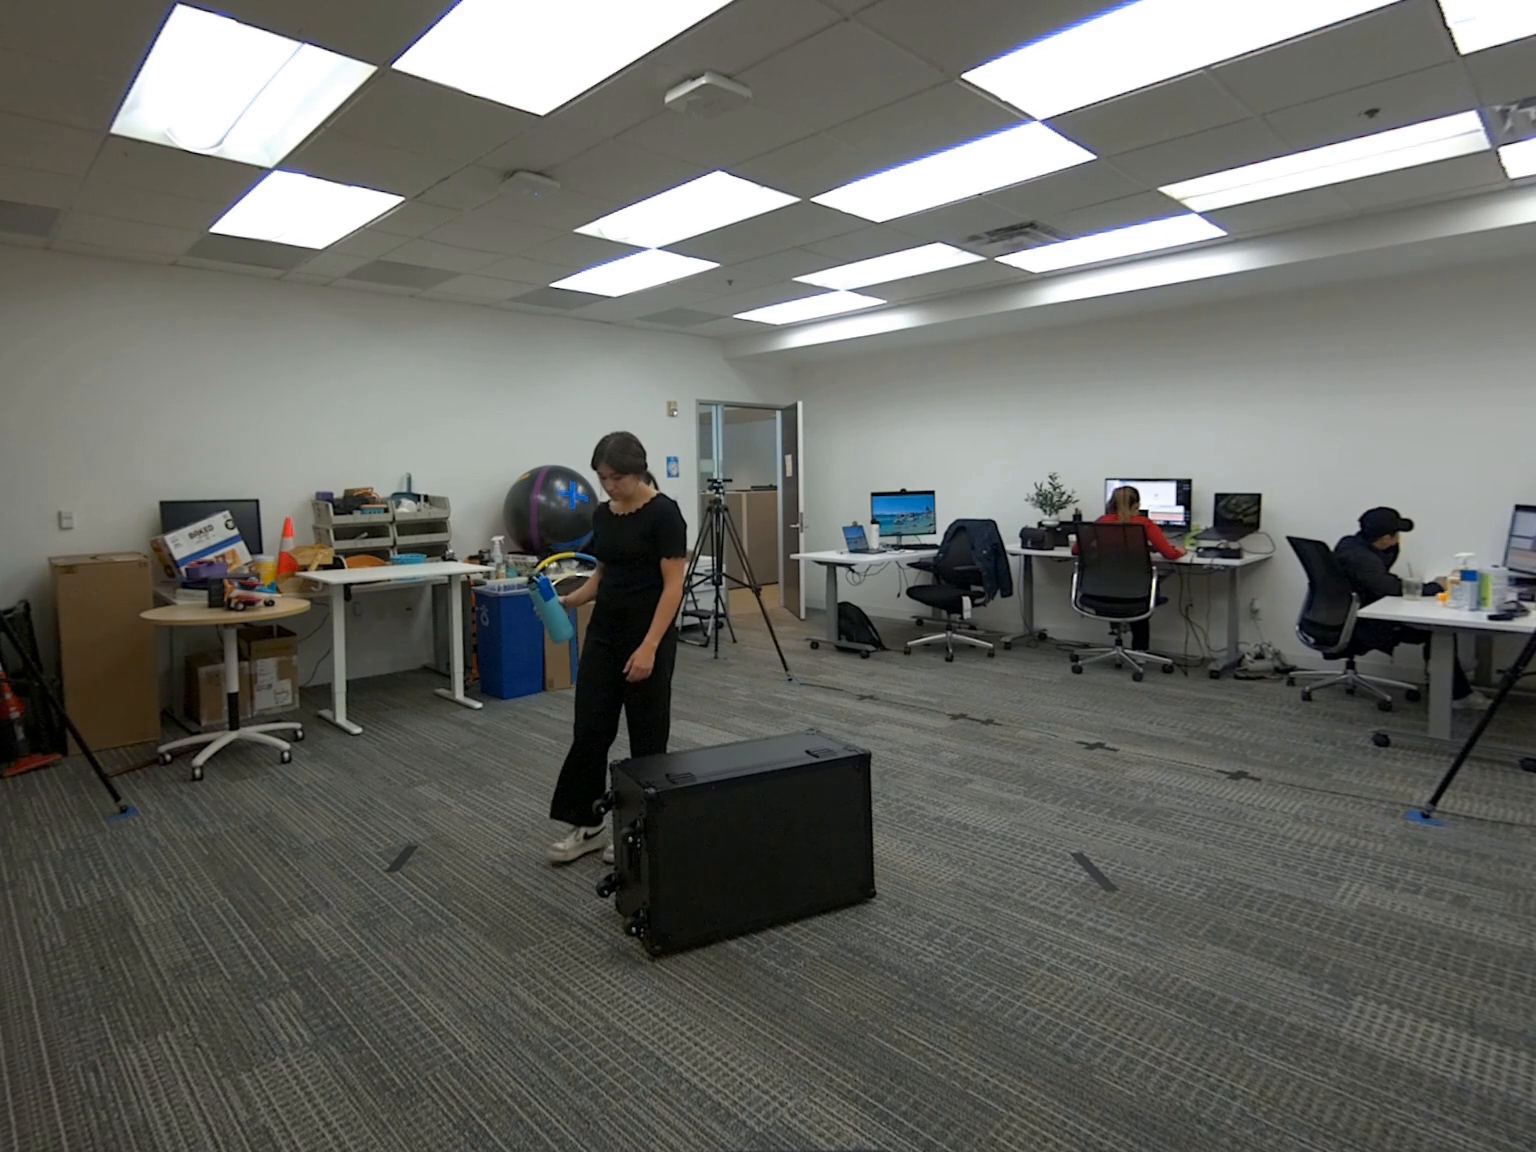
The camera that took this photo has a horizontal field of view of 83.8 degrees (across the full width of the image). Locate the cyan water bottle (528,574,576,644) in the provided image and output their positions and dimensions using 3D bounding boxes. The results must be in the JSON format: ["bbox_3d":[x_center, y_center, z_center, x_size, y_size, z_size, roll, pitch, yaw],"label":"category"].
[{"bbox_3d":[-0.782,0.107,3.081,0.093,0.277,0.094,-17,20,5],"label":"cyan water bottle"}]
